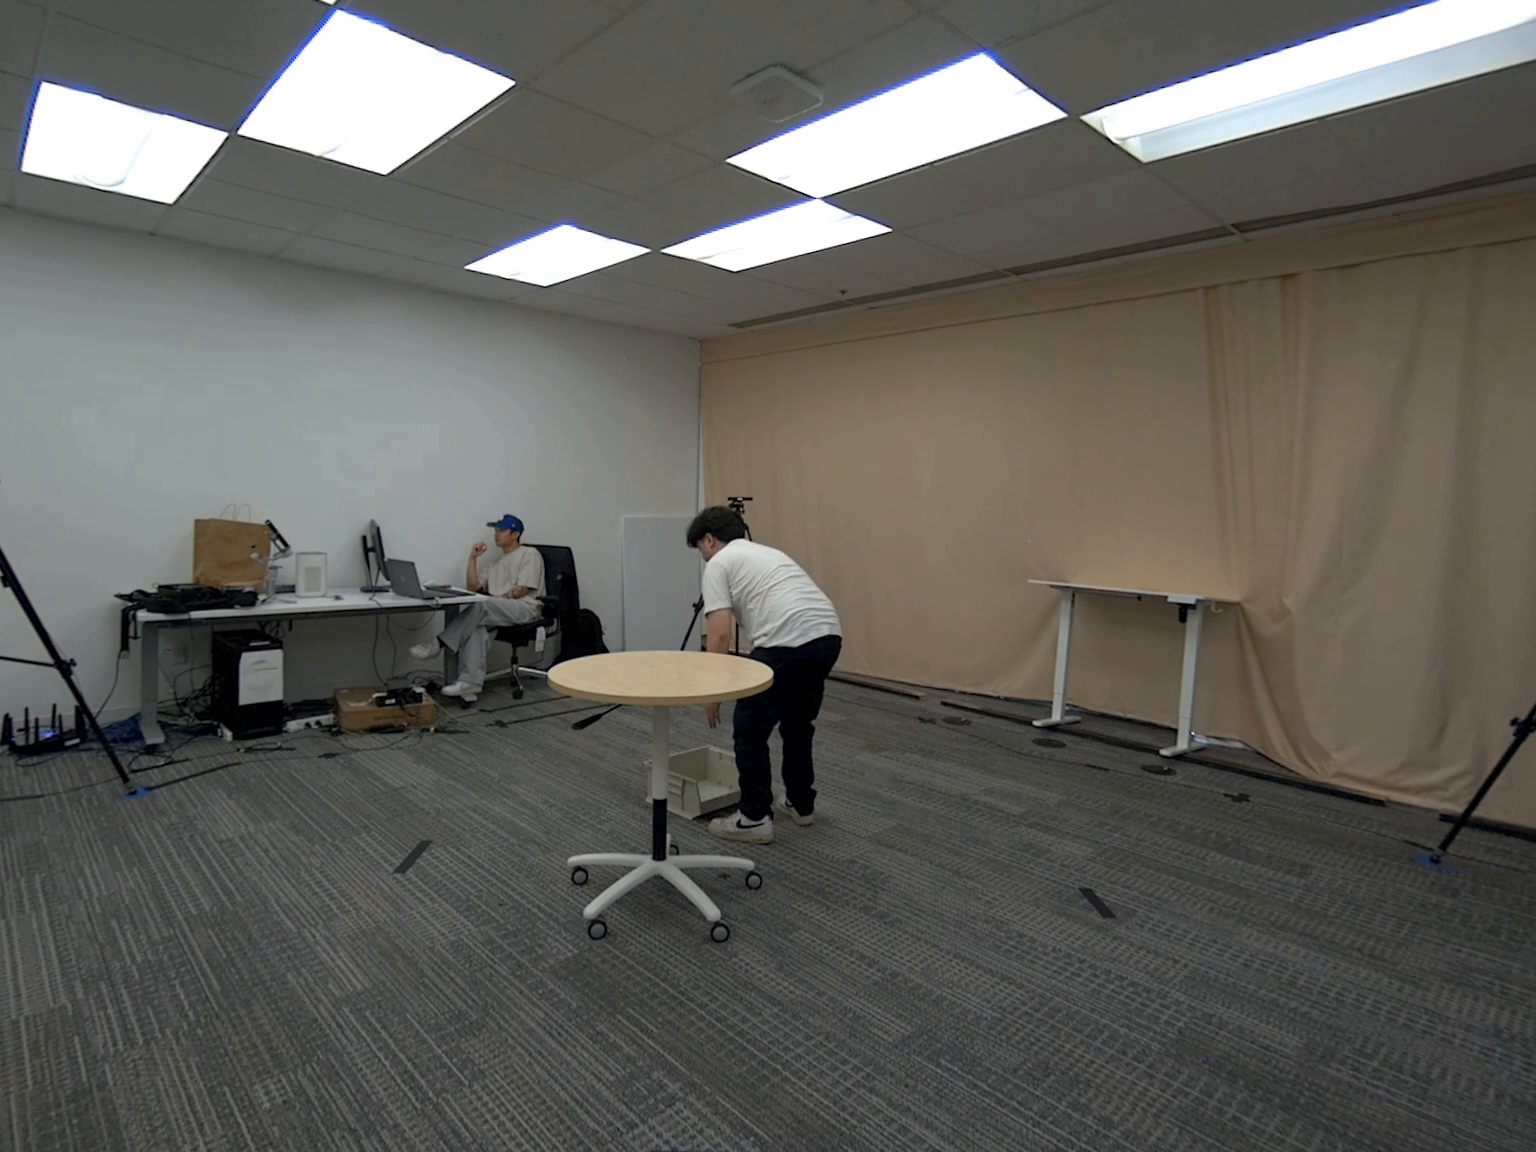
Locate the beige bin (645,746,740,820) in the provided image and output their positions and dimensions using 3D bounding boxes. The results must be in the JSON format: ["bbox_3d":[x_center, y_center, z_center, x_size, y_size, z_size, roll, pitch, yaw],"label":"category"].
[{"bbox_3d":[-0.297,0.948,3.885,0.387,0.188,0.413,4,7,42],"label":"beige bin"}]
